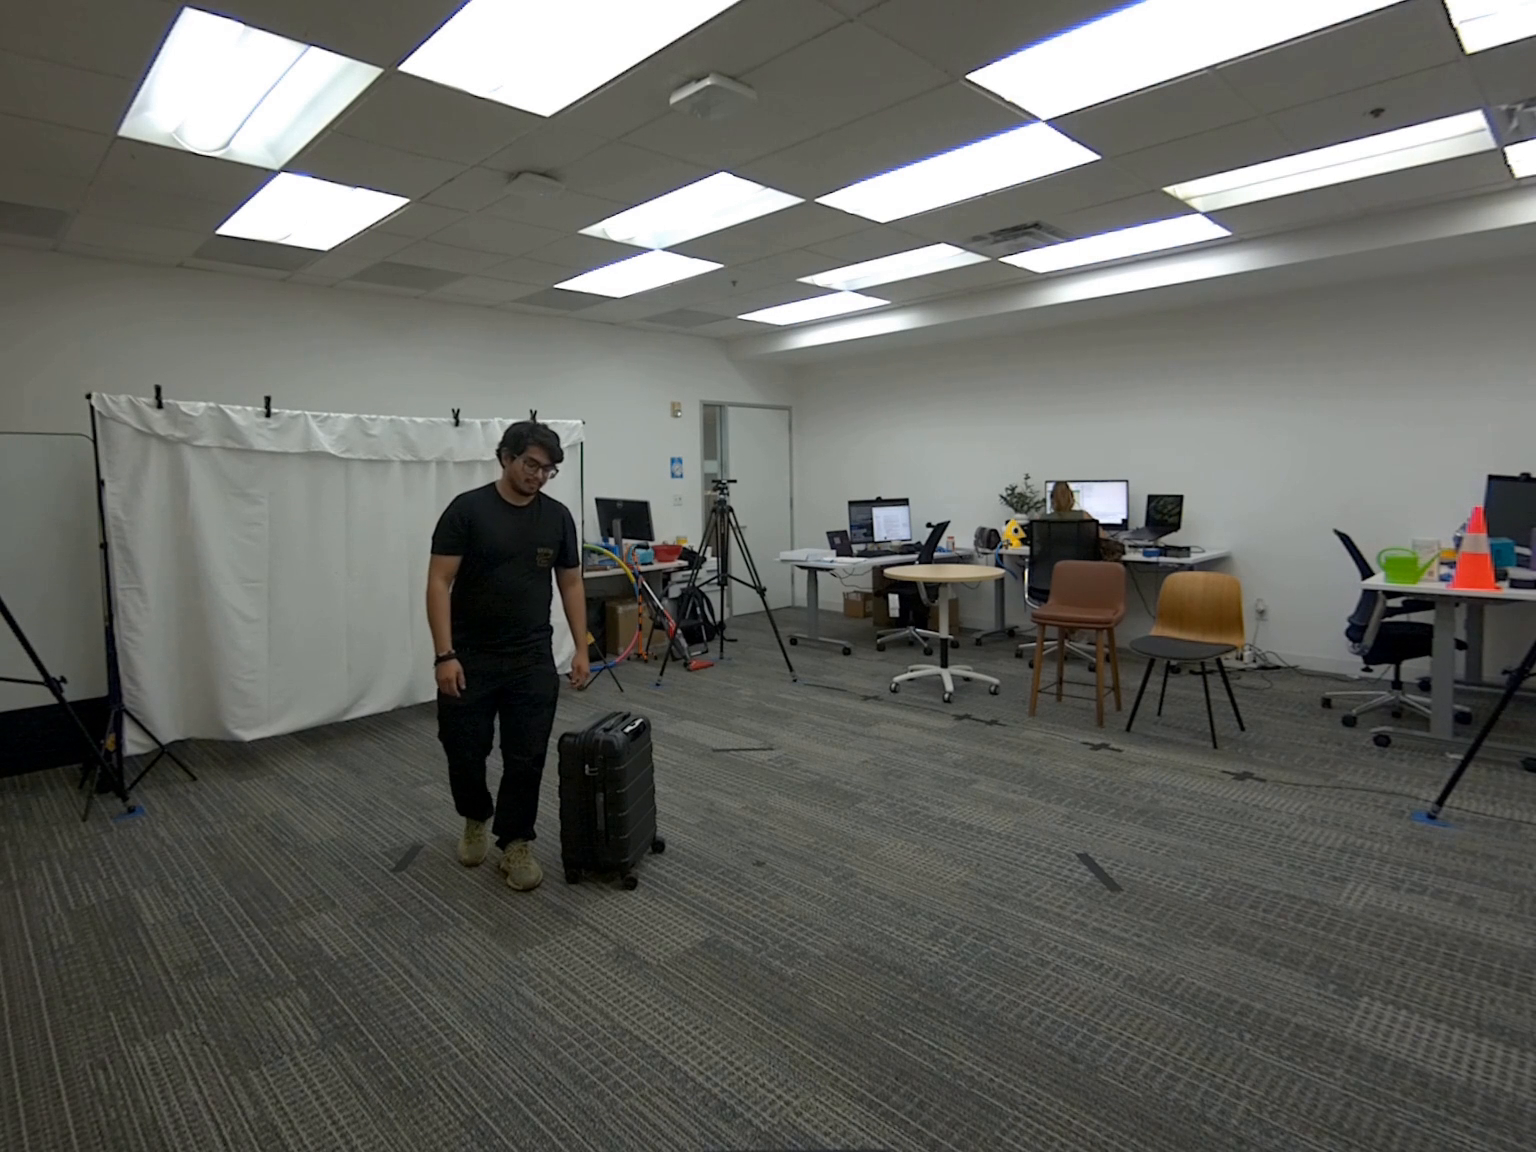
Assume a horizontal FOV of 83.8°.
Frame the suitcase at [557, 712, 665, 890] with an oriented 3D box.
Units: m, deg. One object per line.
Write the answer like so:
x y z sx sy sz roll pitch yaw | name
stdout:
-0.574 0.781 3.091 0.252 0.547 0.372 -2 5 13 | suitcase
